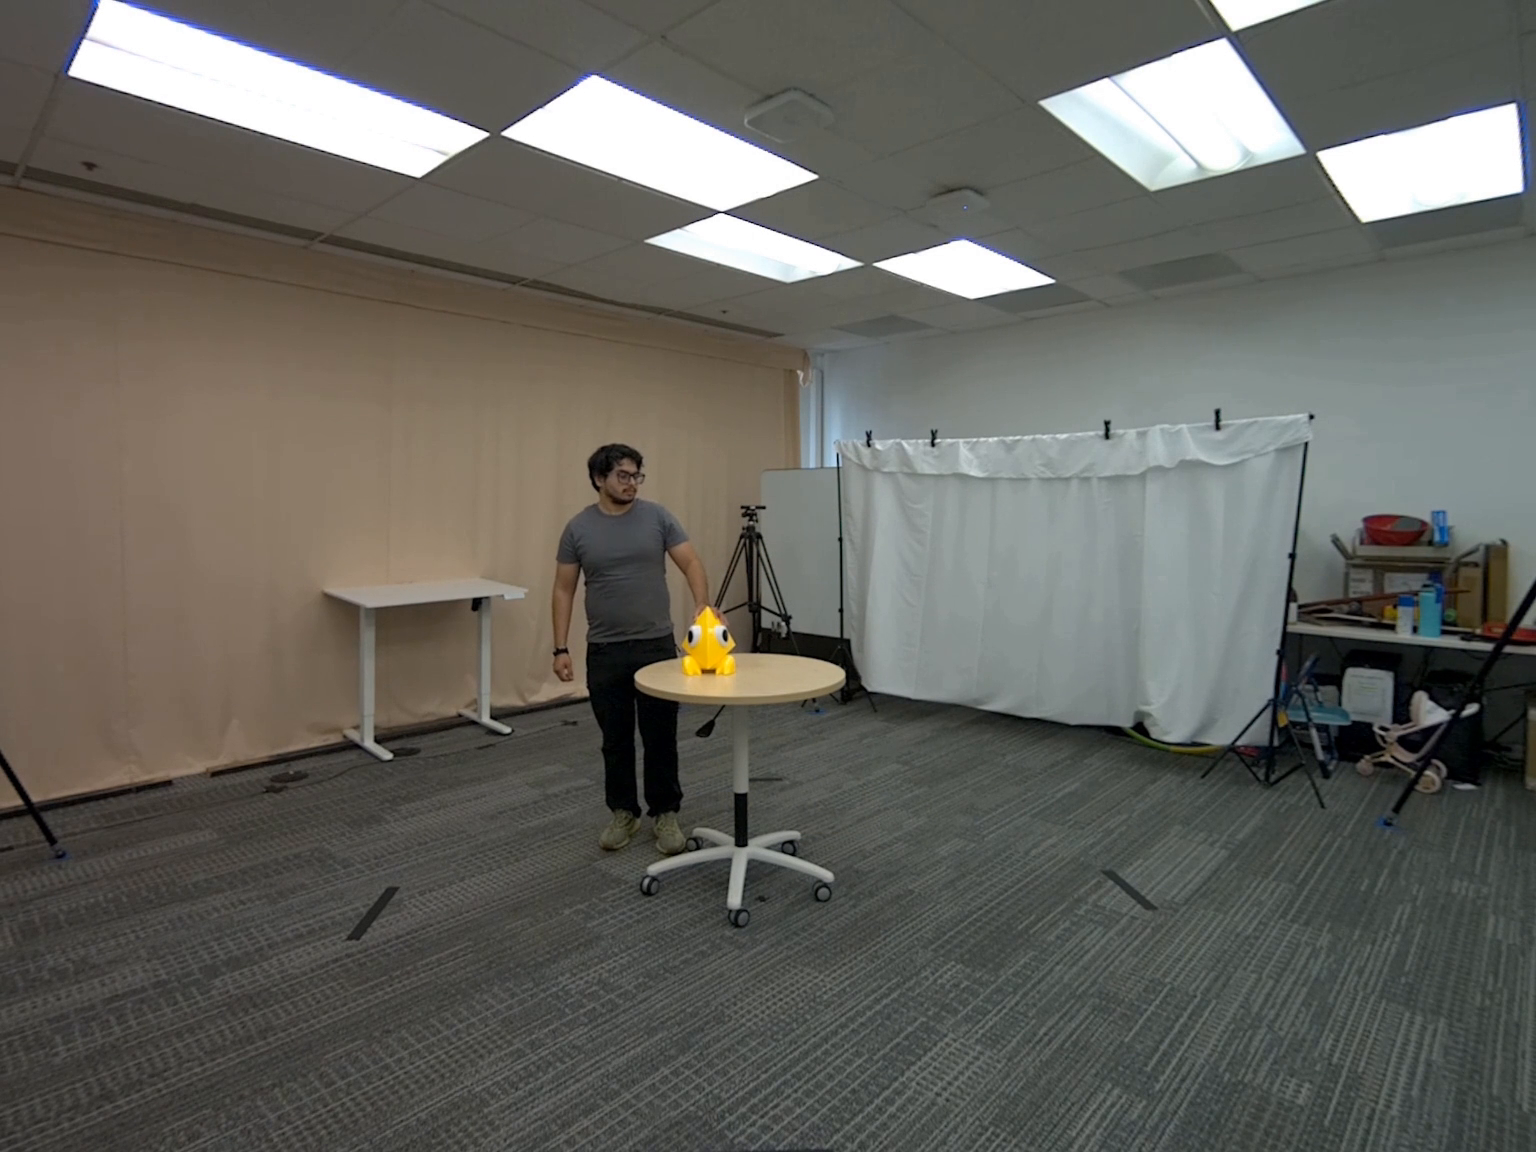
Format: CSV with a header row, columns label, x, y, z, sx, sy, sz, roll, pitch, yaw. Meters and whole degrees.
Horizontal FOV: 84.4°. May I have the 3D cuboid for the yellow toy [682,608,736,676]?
label,x,y,z,sx,sy,sz,roll,pitch,yaw
yellow toy,-0.221,0.236,3.120,0.204,0.230,0.193,-1,2,-2
